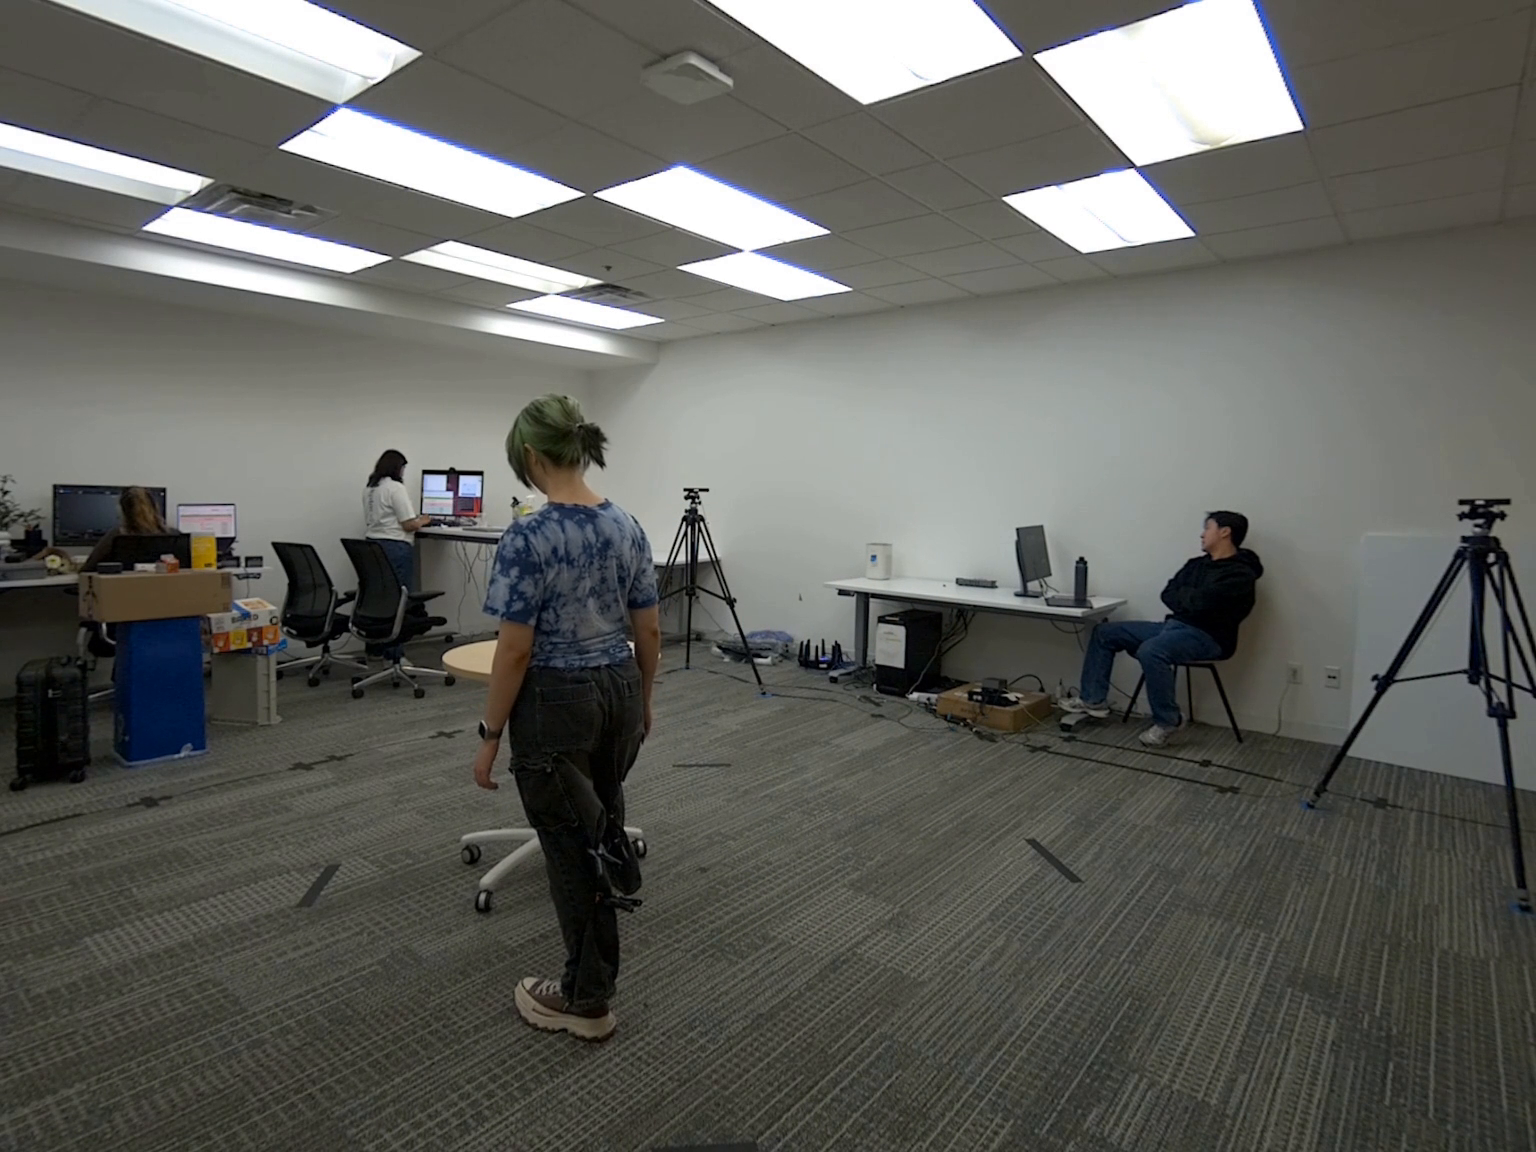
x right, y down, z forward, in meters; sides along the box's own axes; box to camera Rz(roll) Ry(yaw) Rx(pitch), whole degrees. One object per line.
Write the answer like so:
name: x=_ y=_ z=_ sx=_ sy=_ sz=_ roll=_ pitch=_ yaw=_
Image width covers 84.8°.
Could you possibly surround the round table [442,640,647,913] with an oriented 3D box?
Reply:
round table: x=-0.784 y=0.671 z=3.065 sx=0.763 sy=0.792 sz=0.767 roll=1 pitch=3 yaw=-2
